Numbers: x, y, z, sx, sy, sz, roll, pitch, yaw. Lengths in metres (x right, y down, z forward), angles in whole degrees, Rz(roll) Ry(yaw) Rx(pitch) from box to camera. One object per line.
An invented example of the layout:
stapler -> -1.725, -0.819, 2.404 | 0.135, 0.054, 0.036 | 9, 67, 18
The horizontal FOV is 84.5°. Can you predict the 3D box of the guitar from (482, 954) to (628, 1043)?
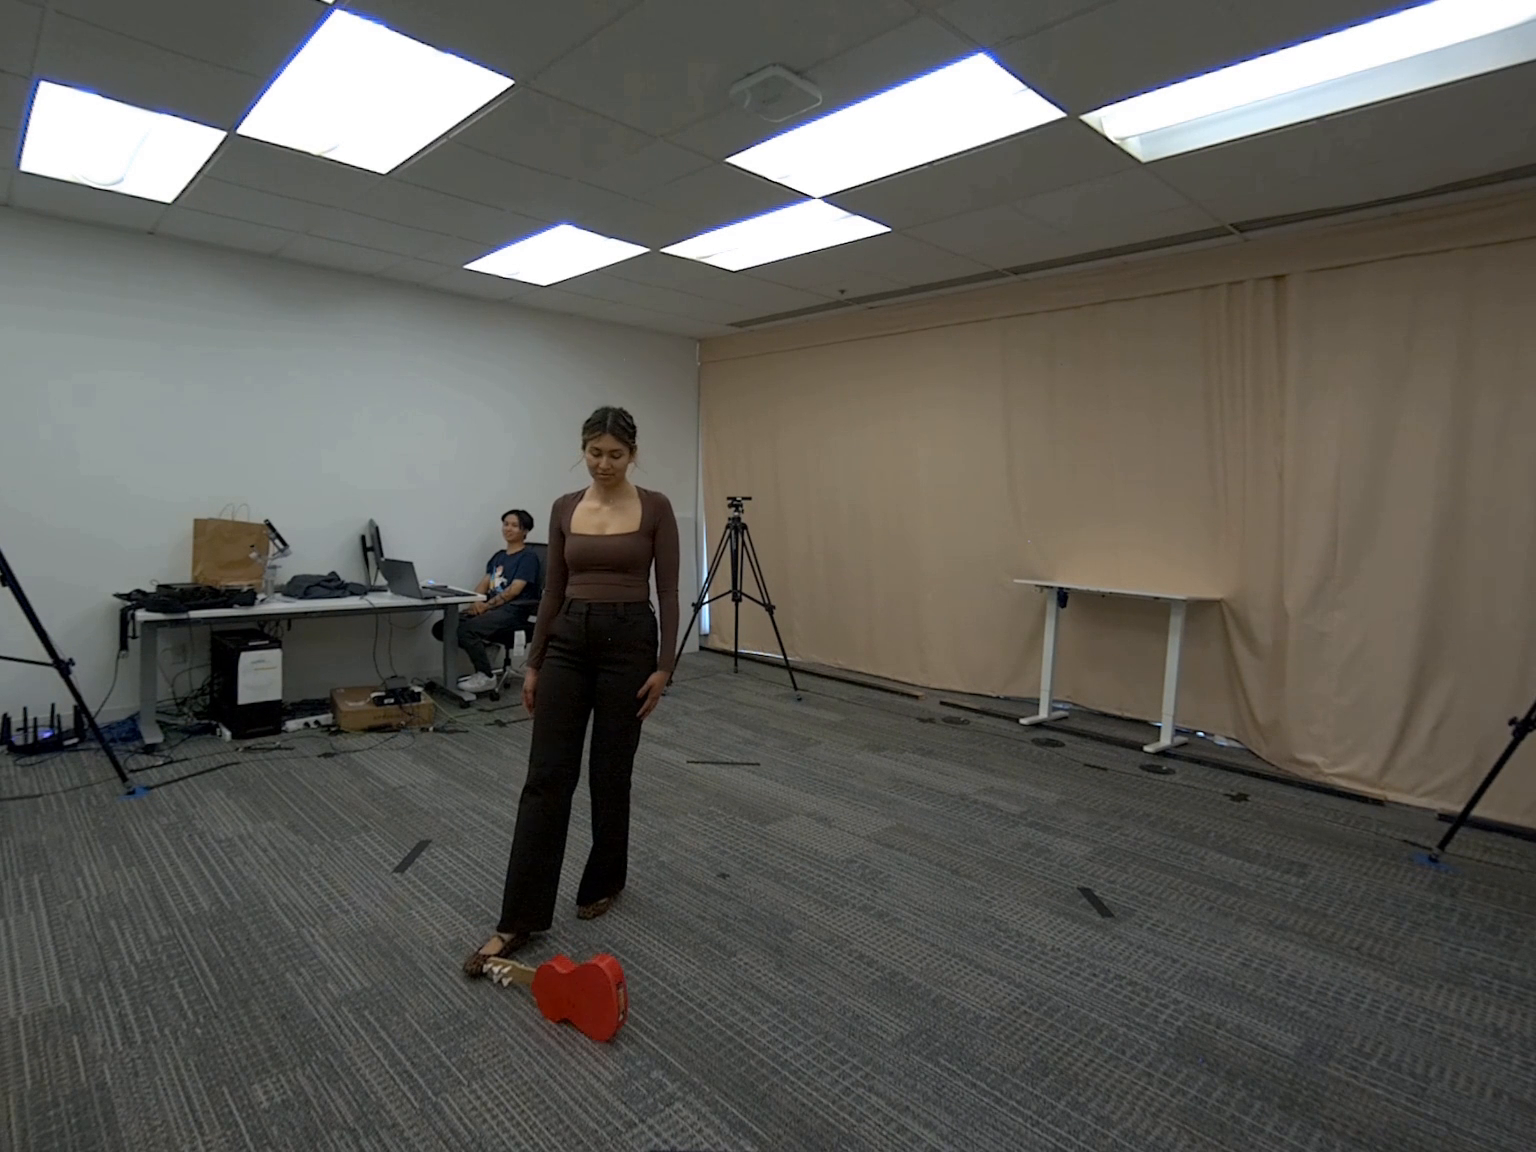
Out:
guitar -> -0.592, 1.137, 2.262 | 0.504, 0.194, 0.069 | -16, -8, 28
